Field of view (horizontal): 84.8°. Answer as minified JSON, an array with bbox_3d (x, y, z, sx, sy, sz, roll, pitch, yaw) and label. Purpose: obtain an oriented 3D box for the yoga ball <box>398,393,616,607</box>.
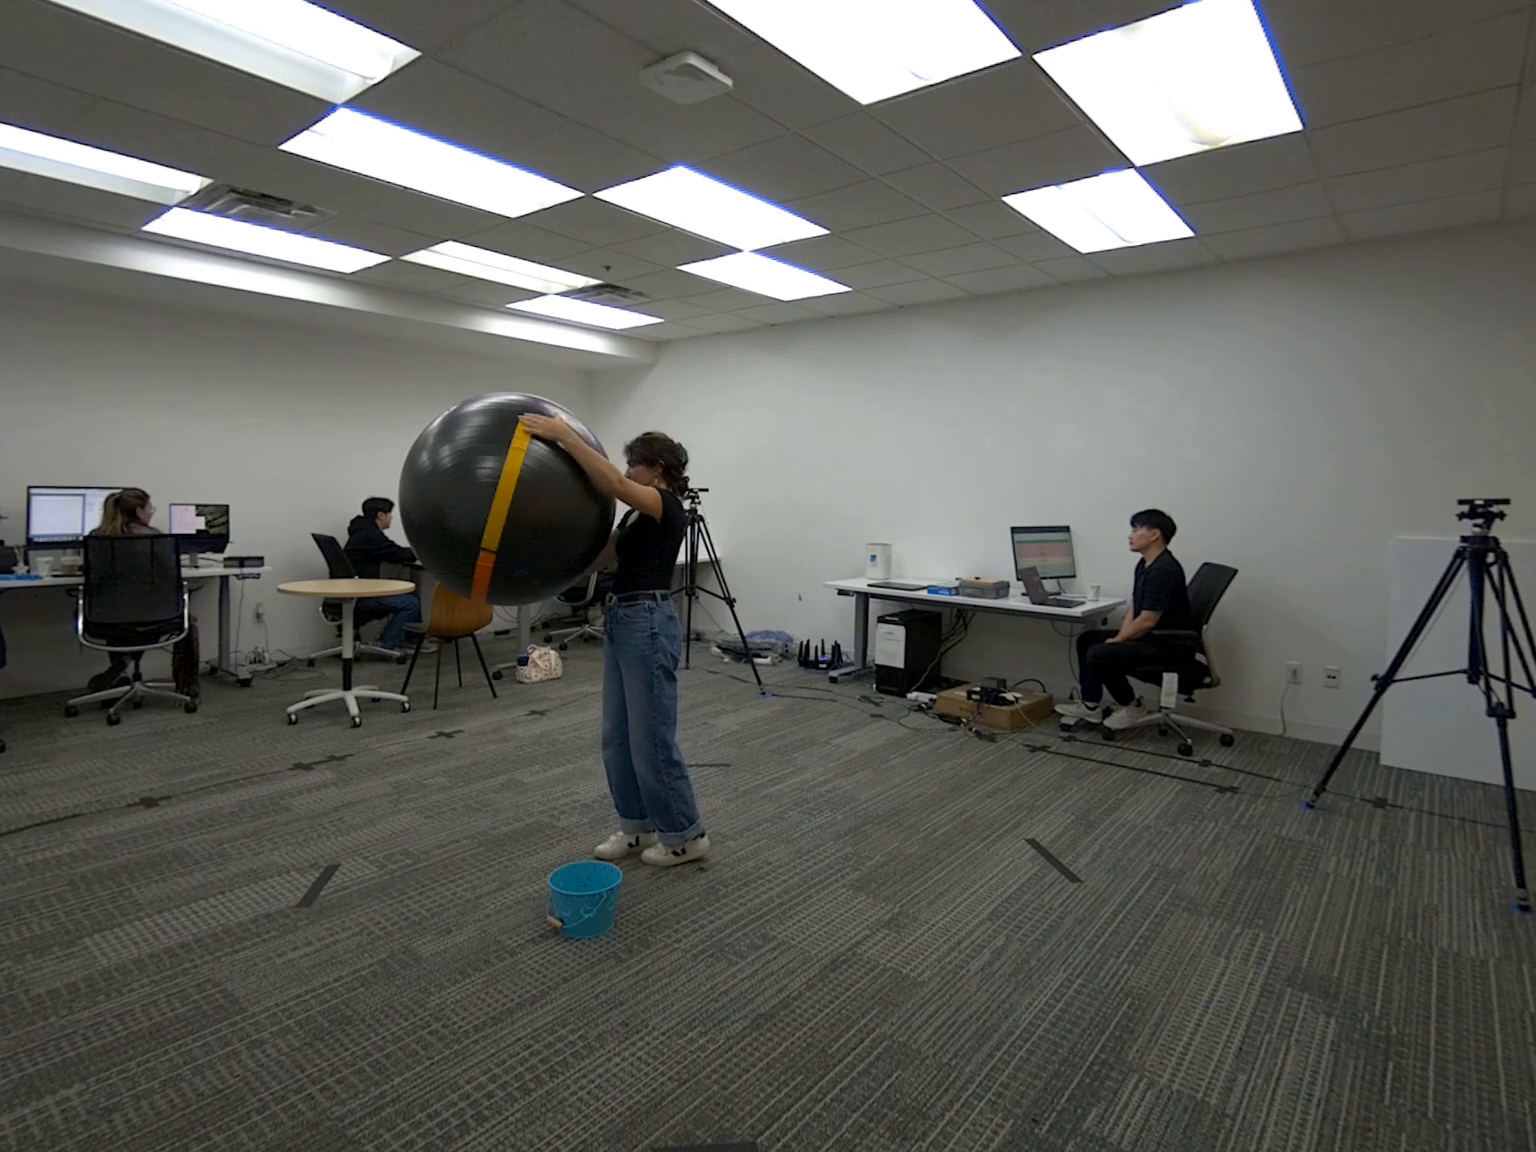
[{"bbox_3d":[-0.935,-0.269,3.038,0.757,0.755,0.762,1,4,-2],"label":"yoga ball"}]
